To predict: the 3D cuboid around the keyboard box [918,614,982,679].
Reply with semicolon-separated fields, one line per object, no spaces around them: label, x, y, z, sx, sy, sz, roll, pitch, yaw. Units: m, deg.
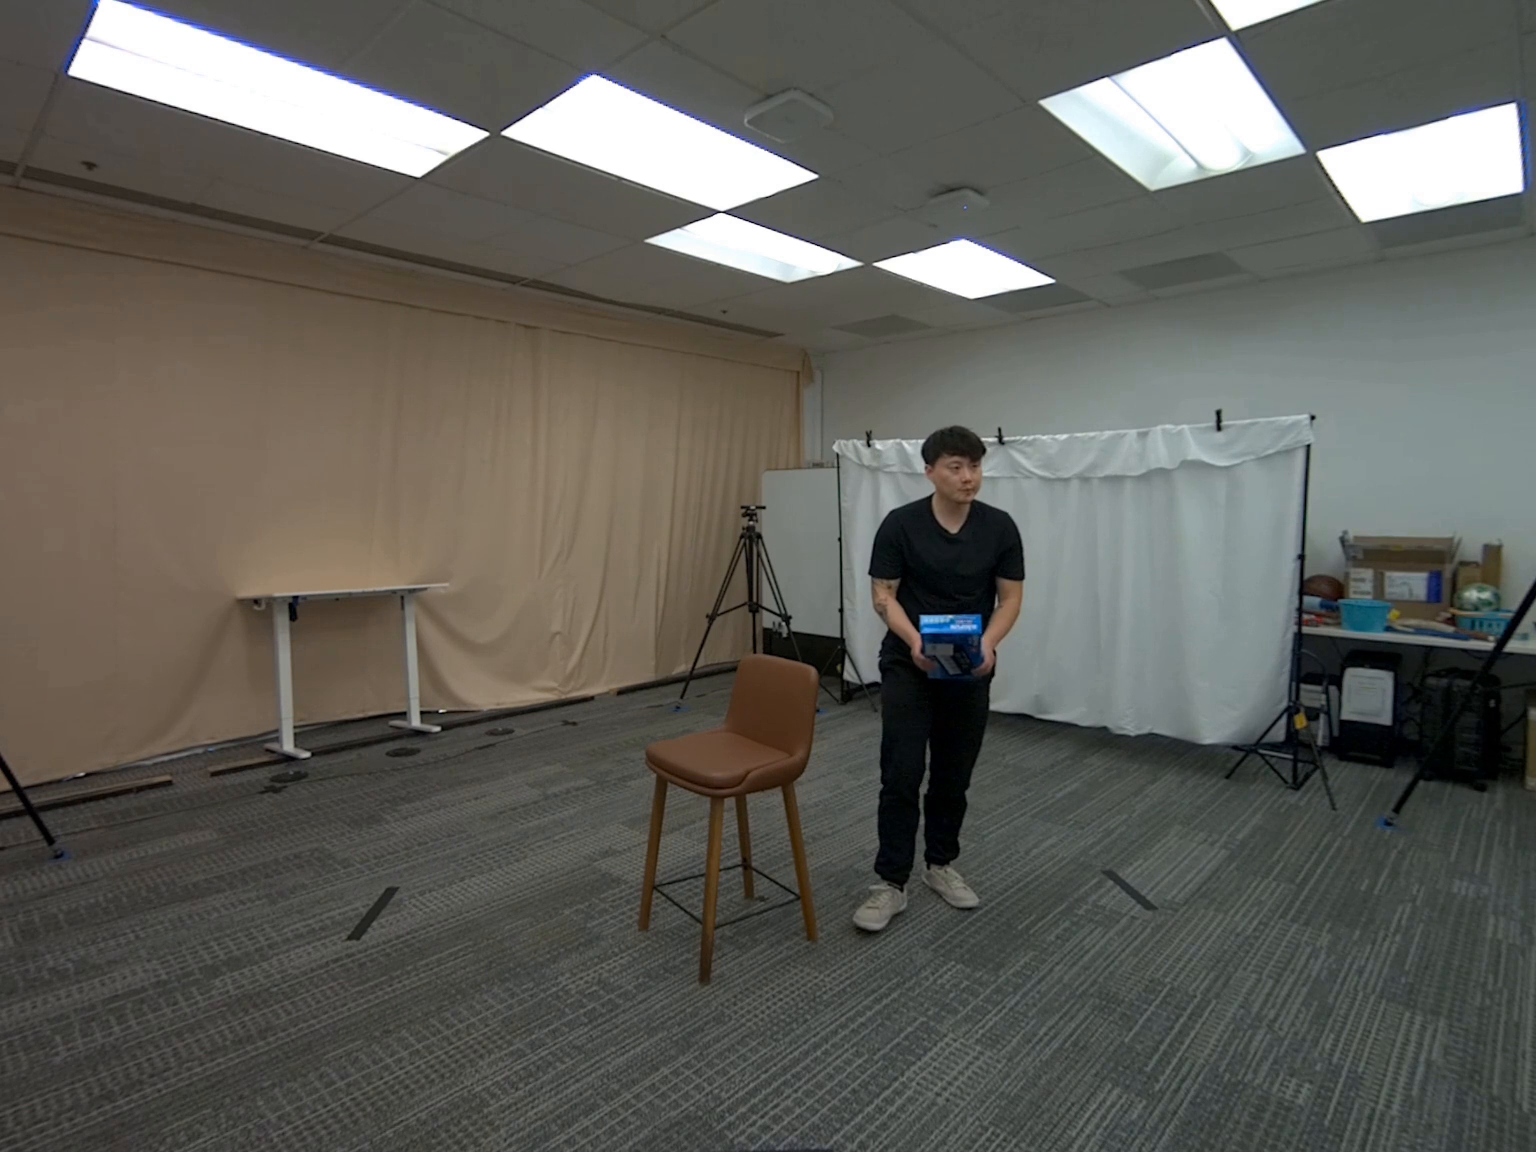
keyboard box;0.555;0.230;2.605;0.179;0.060;0.425;0;-25;14
